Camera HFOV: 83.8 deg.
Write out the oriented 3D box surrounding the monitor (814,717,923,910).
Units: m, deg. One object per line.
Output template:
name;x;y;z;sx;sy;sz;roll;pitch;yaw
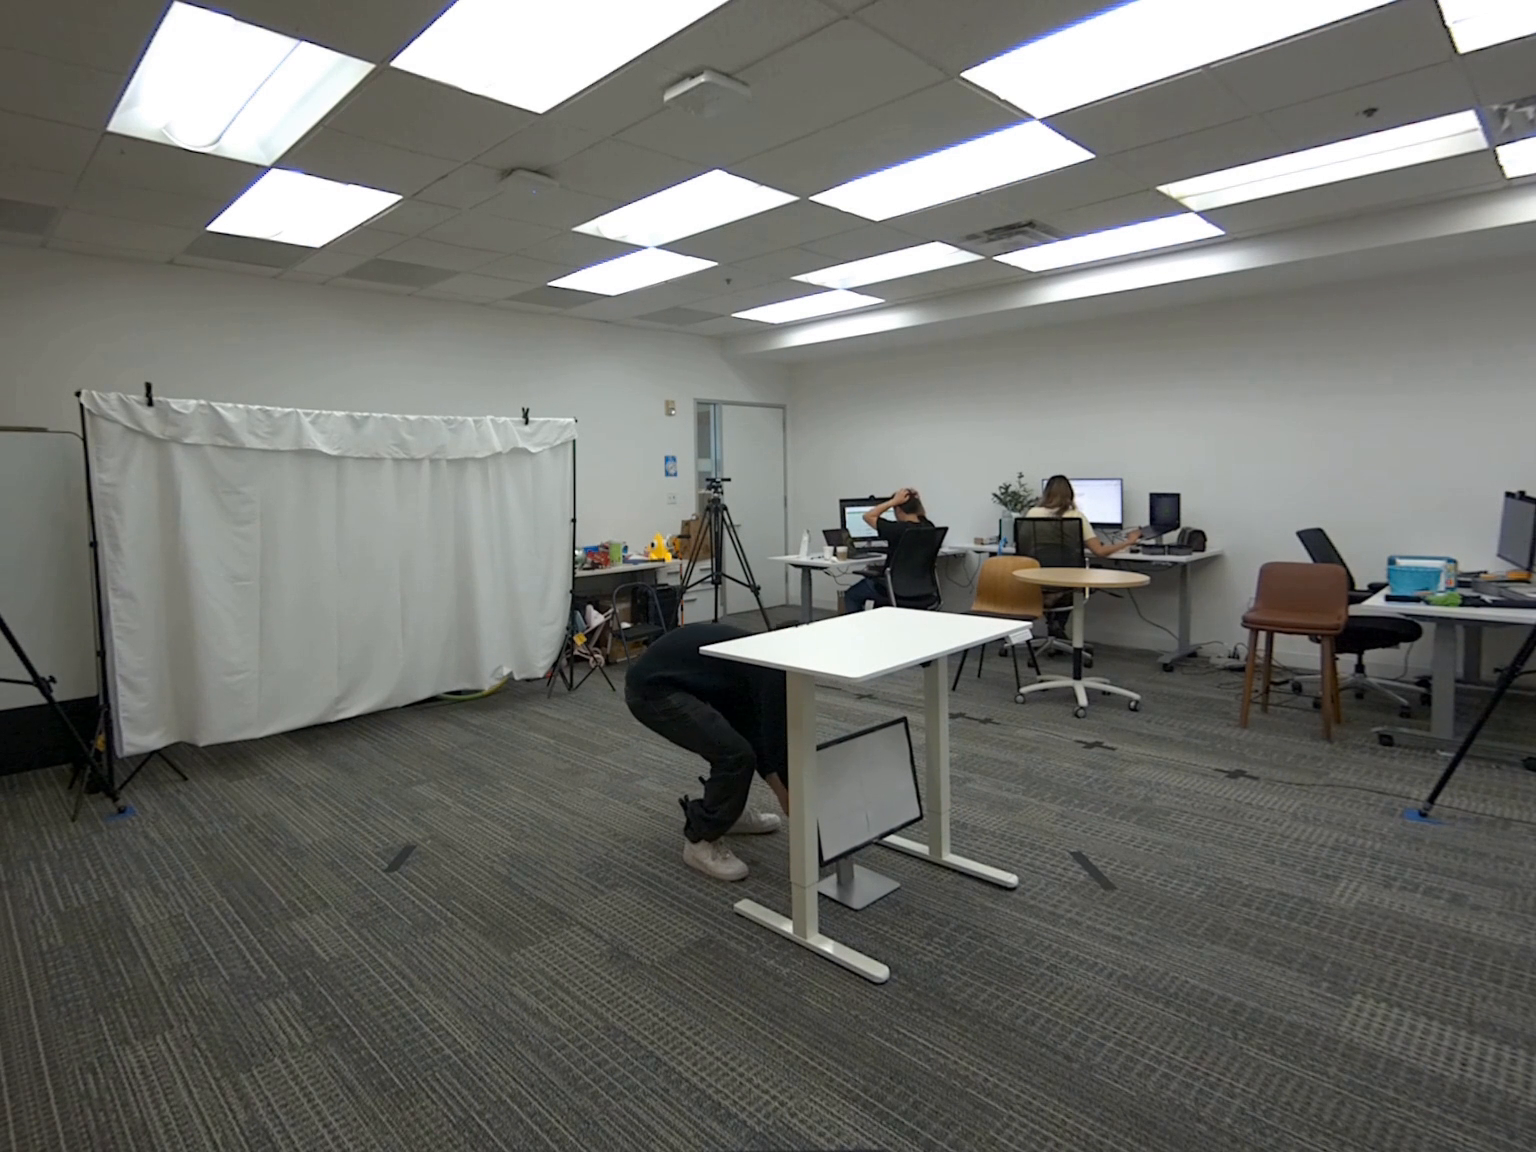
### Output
monitor;0.302;0.787;2.874;0.515;0.512;0.181;-4;12;-43
